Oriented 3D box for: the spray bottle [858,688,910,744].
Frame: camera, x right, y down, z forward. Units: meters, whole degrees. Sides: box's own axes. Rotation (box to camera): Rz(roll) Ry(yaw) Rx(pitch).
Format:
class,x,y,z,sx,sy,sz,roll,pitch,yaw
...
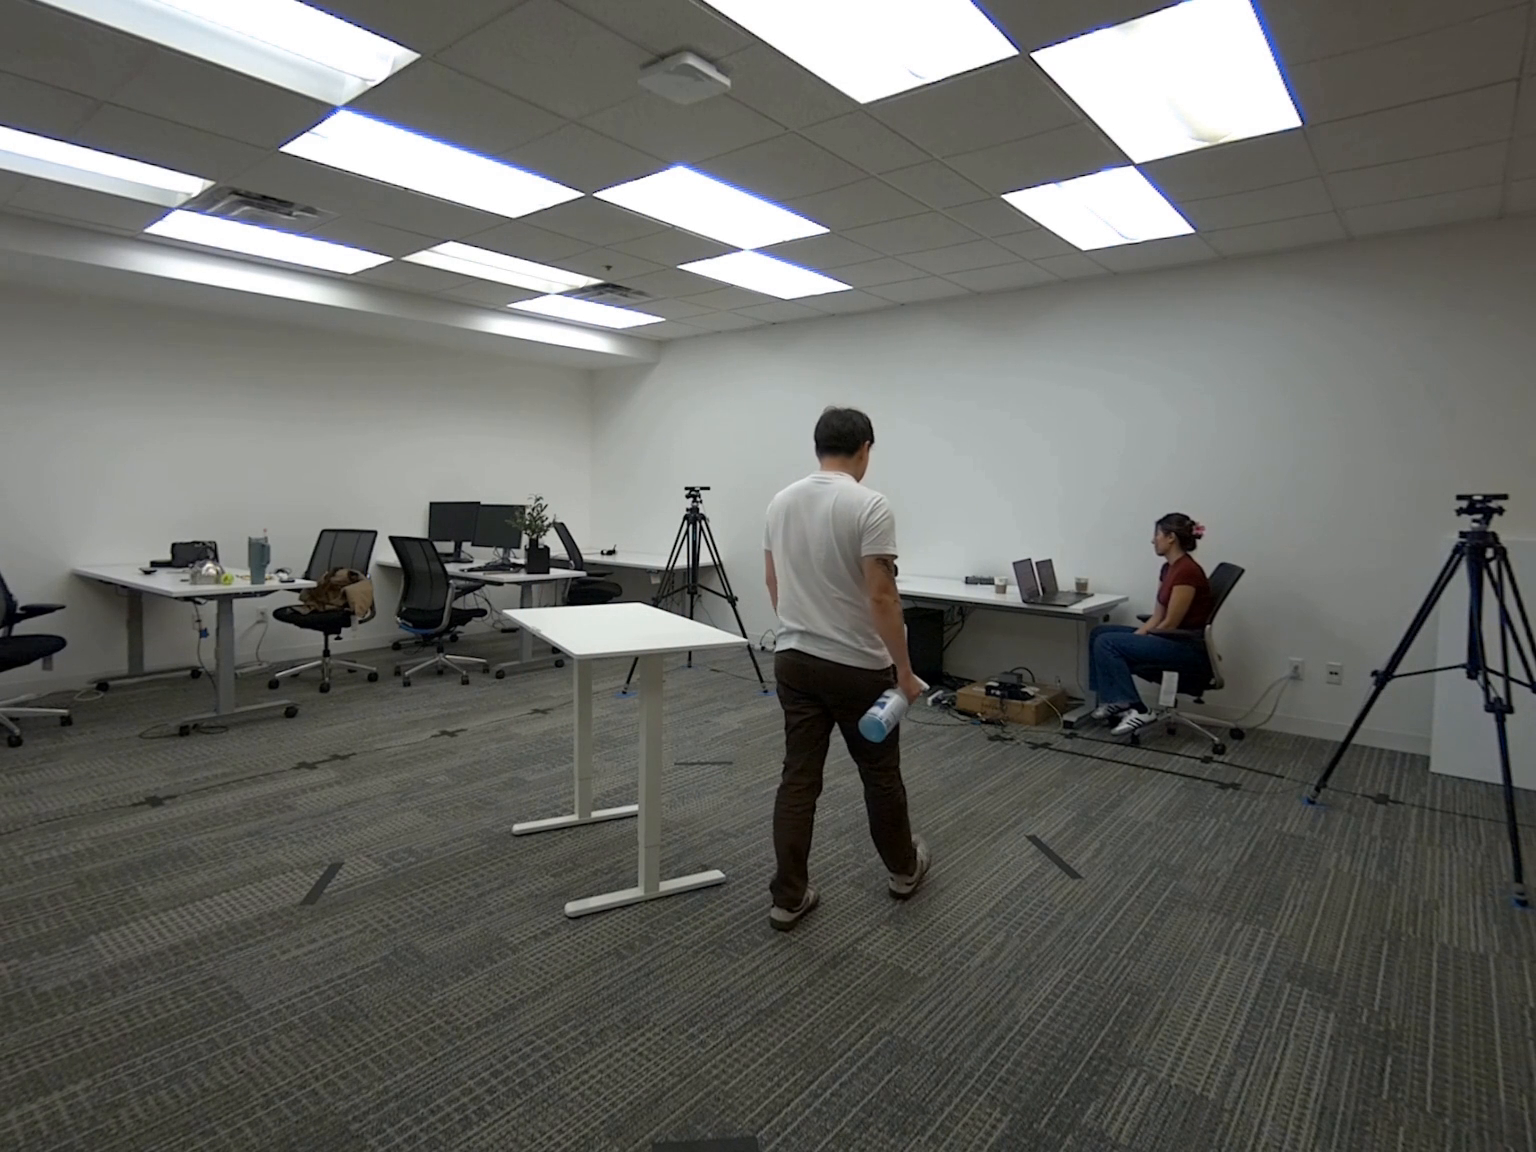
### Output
class,x,y,z,sx,sy,sz,roll,pitch,yaw
spray bottle,0.396,0.383,2.600,0.093,0.085,0.294,18,37,32
